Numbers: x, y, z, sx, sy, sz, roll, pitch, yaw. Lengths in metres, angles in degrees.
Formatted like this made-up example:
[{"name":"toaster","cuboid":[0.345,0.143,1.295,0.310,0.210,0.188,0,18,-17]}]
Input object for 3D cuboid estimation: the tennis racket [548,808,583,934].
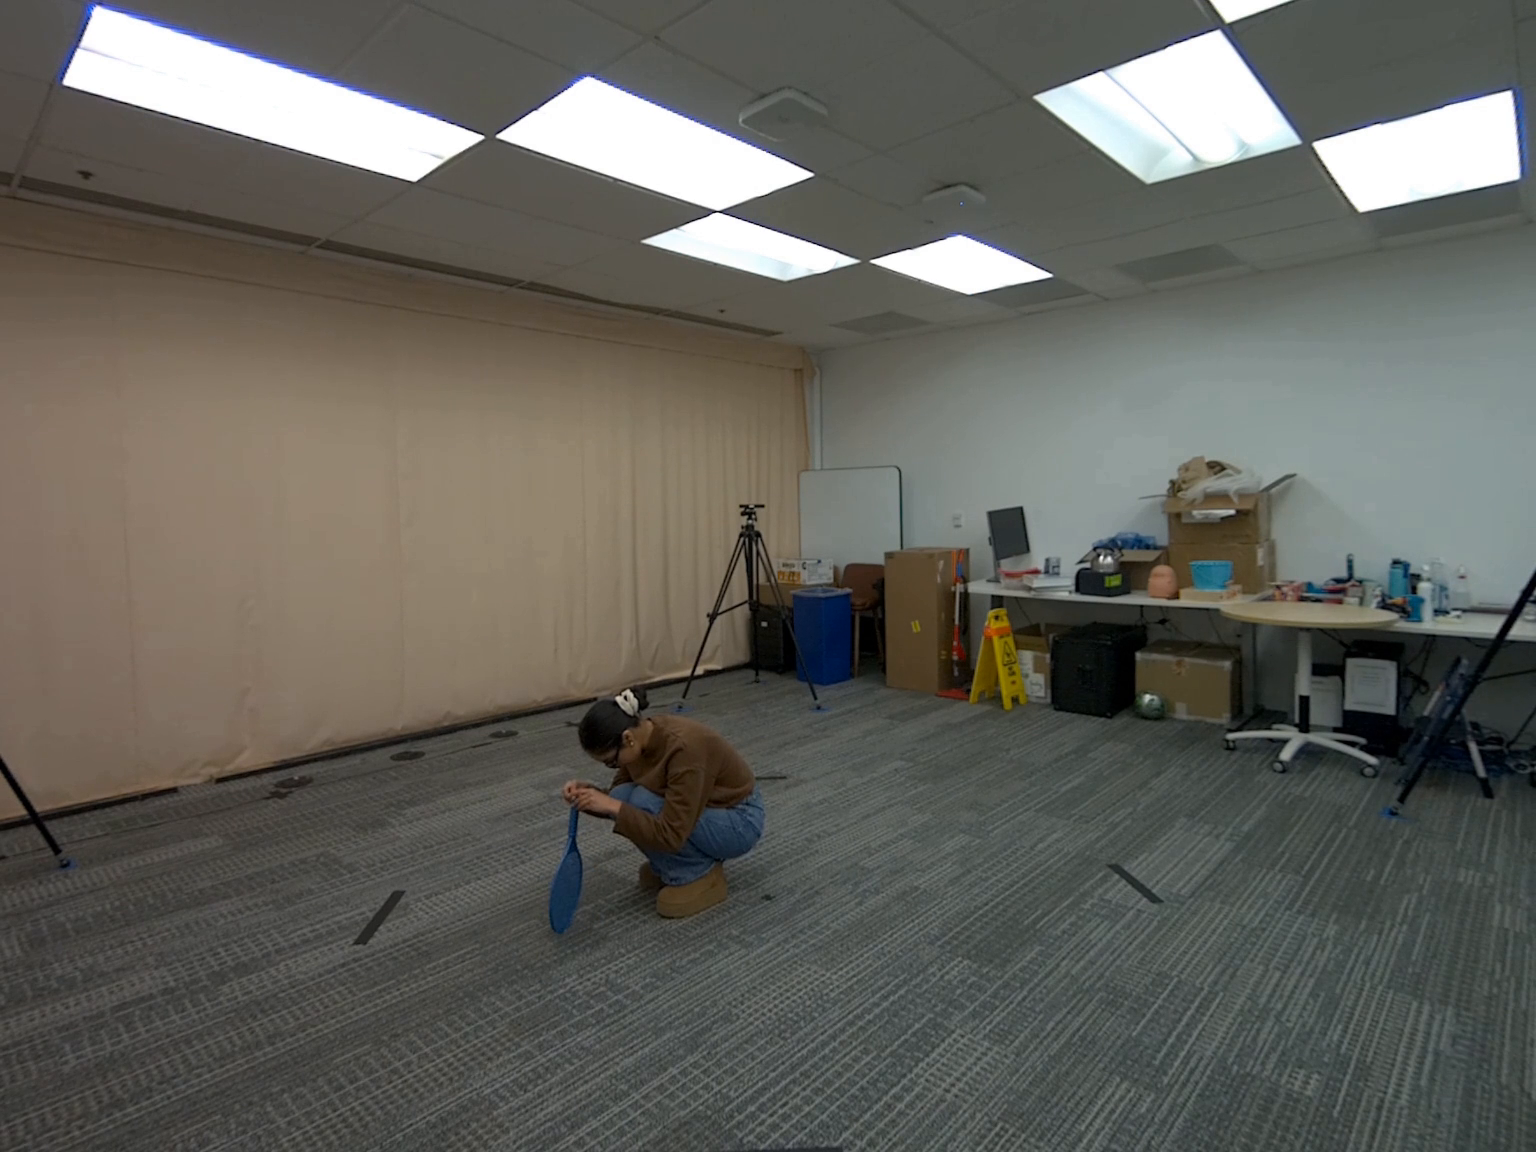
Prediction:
[{"name":"tennis racket","cuboid":[-0.654,0.948,2.802,0.032,0.434,0.209,3,-4,15]}]
